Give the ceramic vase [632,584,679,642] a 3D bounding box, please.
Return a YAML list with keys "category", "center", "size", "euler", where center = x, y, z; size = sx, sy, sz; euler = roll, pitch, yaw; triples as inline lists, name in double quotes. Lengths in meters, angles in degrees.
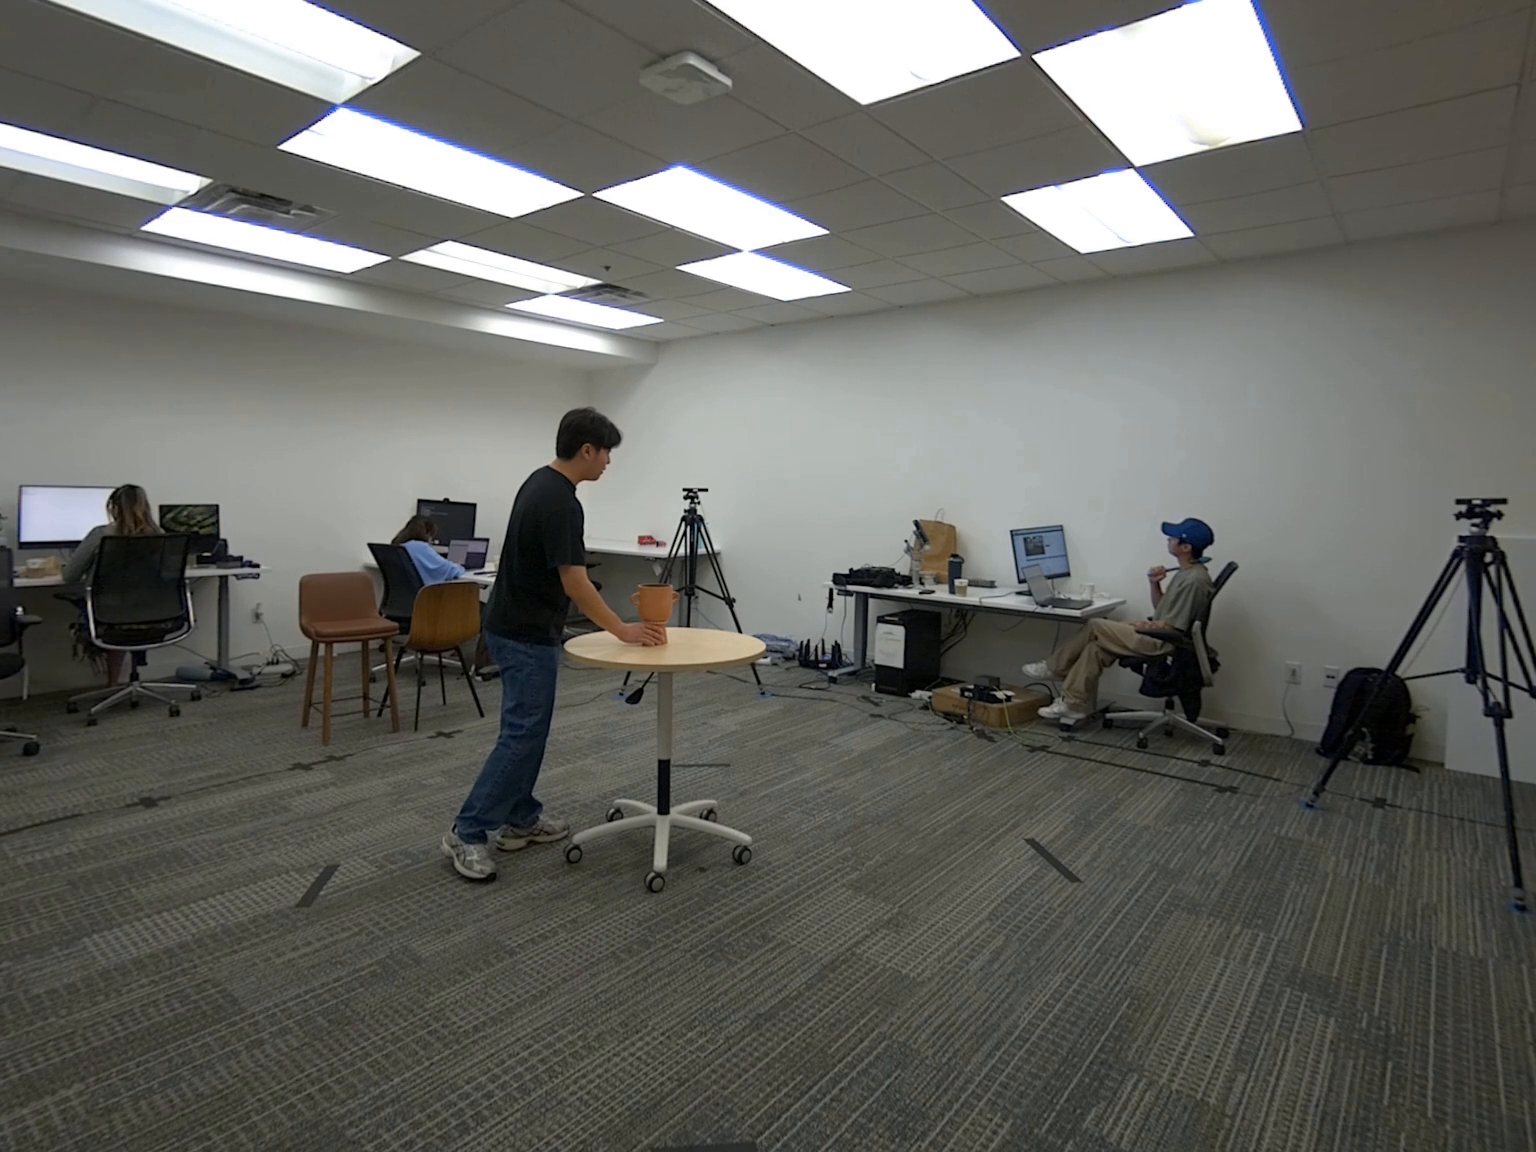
- category: "ceramic vase"
  center: [-0.450, 0.146, 3.259]
  size: [0.161, 0.219, 0.133]
  euler: [2, 4, 14]
